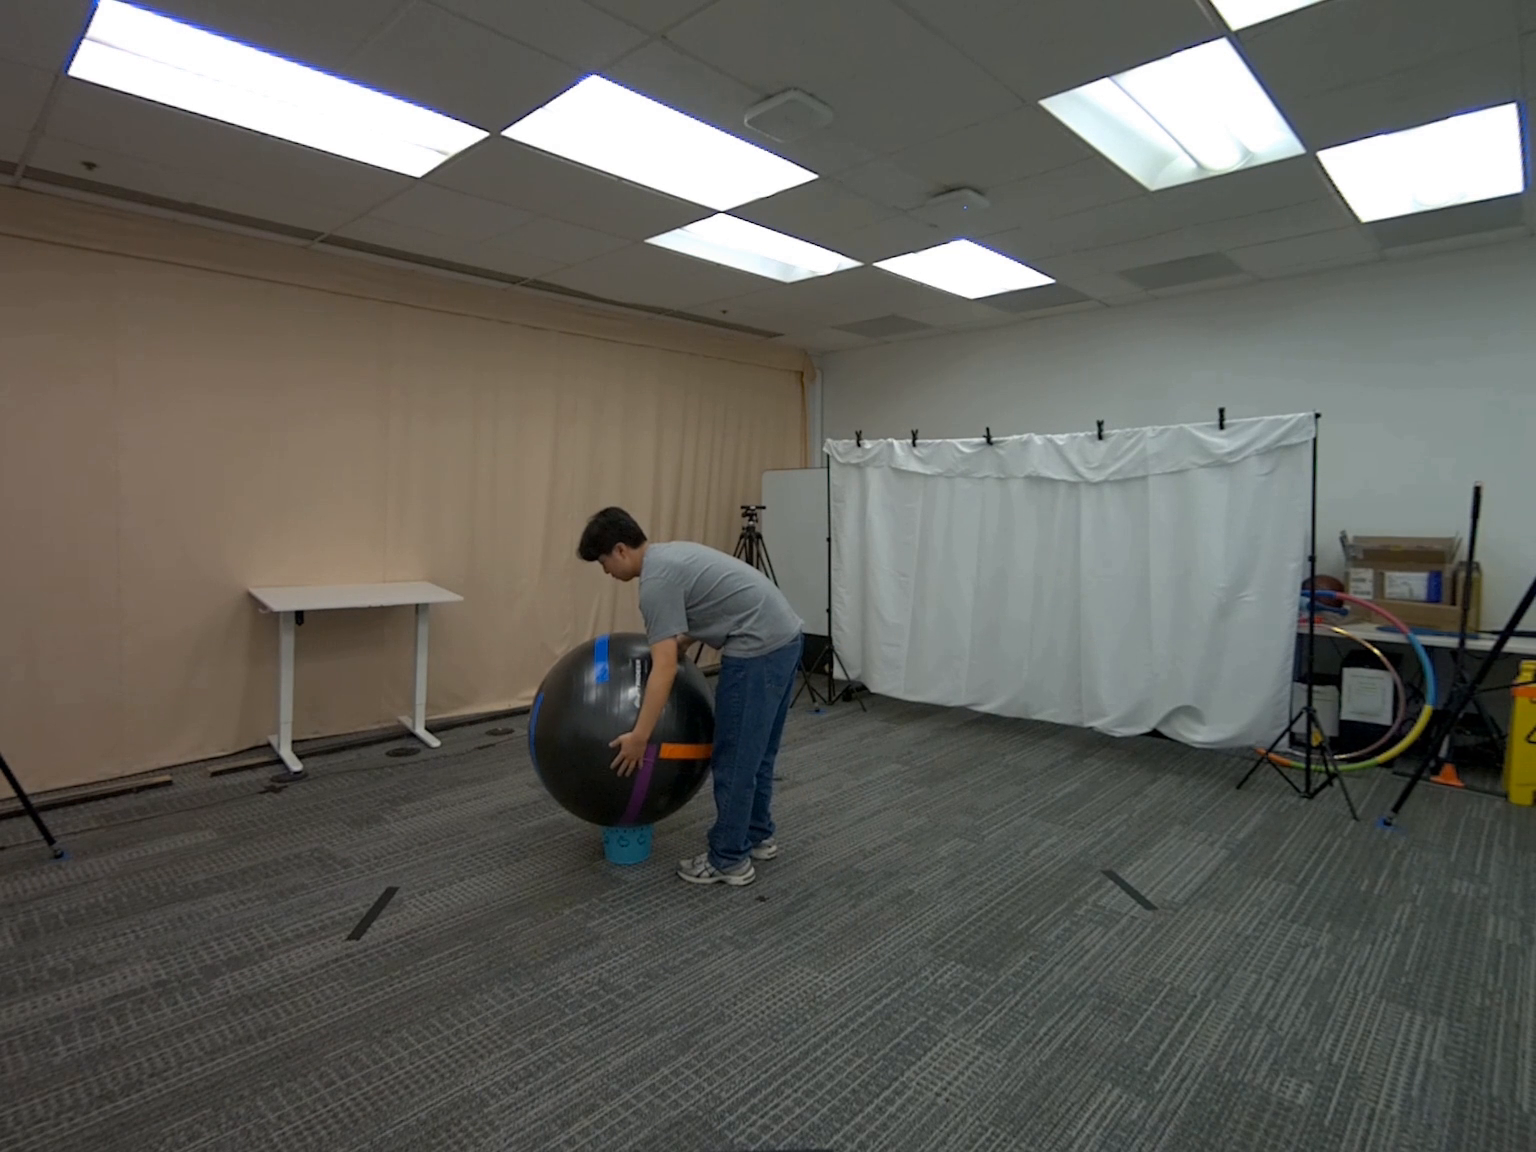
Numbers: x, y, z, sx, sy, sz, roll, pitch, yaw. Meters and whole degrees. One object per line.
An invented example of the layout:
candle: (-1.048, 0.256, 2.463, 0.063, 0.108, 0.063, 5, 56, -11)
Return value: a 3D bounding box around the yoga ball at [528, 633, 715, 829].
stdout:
yoga ball: (-0.569, 0.611, 3.357, 0.757, 0.756, 0.761, 0, 4, -2)
